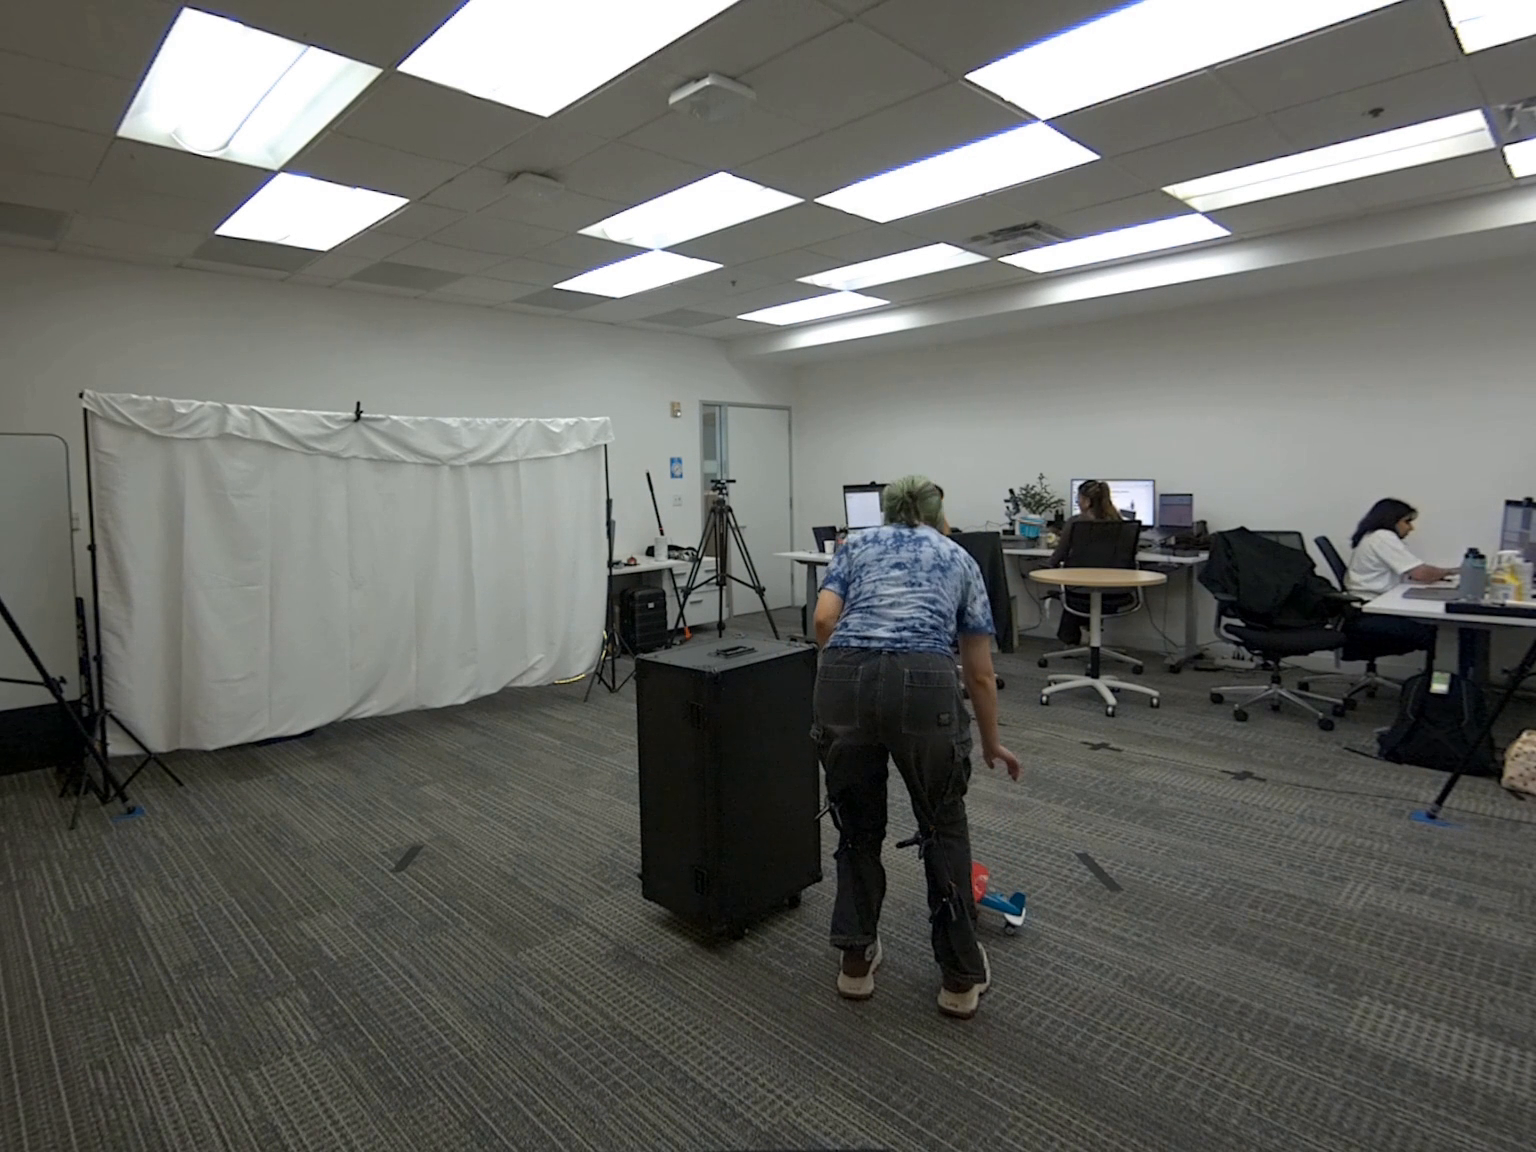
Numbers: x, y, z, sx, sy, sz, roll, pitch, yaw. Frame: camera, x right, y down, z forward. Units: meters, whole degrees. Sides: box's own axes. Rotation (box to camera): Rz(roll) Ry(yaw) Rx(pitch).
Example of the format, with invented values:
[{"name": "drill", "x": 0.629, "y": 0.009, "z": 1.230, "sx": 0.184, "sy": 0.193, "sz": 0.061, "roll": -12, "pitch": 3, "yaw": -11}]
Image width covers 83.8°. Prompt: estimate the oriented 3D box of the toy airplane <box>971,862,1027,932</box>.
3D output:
[{"name": "toy airplane", "x": 0.661, "y": 0.998, "z": 2.666, "sx": 0.258, "sy": 0.156, "sz": 0.253, "roll": -2, "pitch": 5, "yaw": -4}]
